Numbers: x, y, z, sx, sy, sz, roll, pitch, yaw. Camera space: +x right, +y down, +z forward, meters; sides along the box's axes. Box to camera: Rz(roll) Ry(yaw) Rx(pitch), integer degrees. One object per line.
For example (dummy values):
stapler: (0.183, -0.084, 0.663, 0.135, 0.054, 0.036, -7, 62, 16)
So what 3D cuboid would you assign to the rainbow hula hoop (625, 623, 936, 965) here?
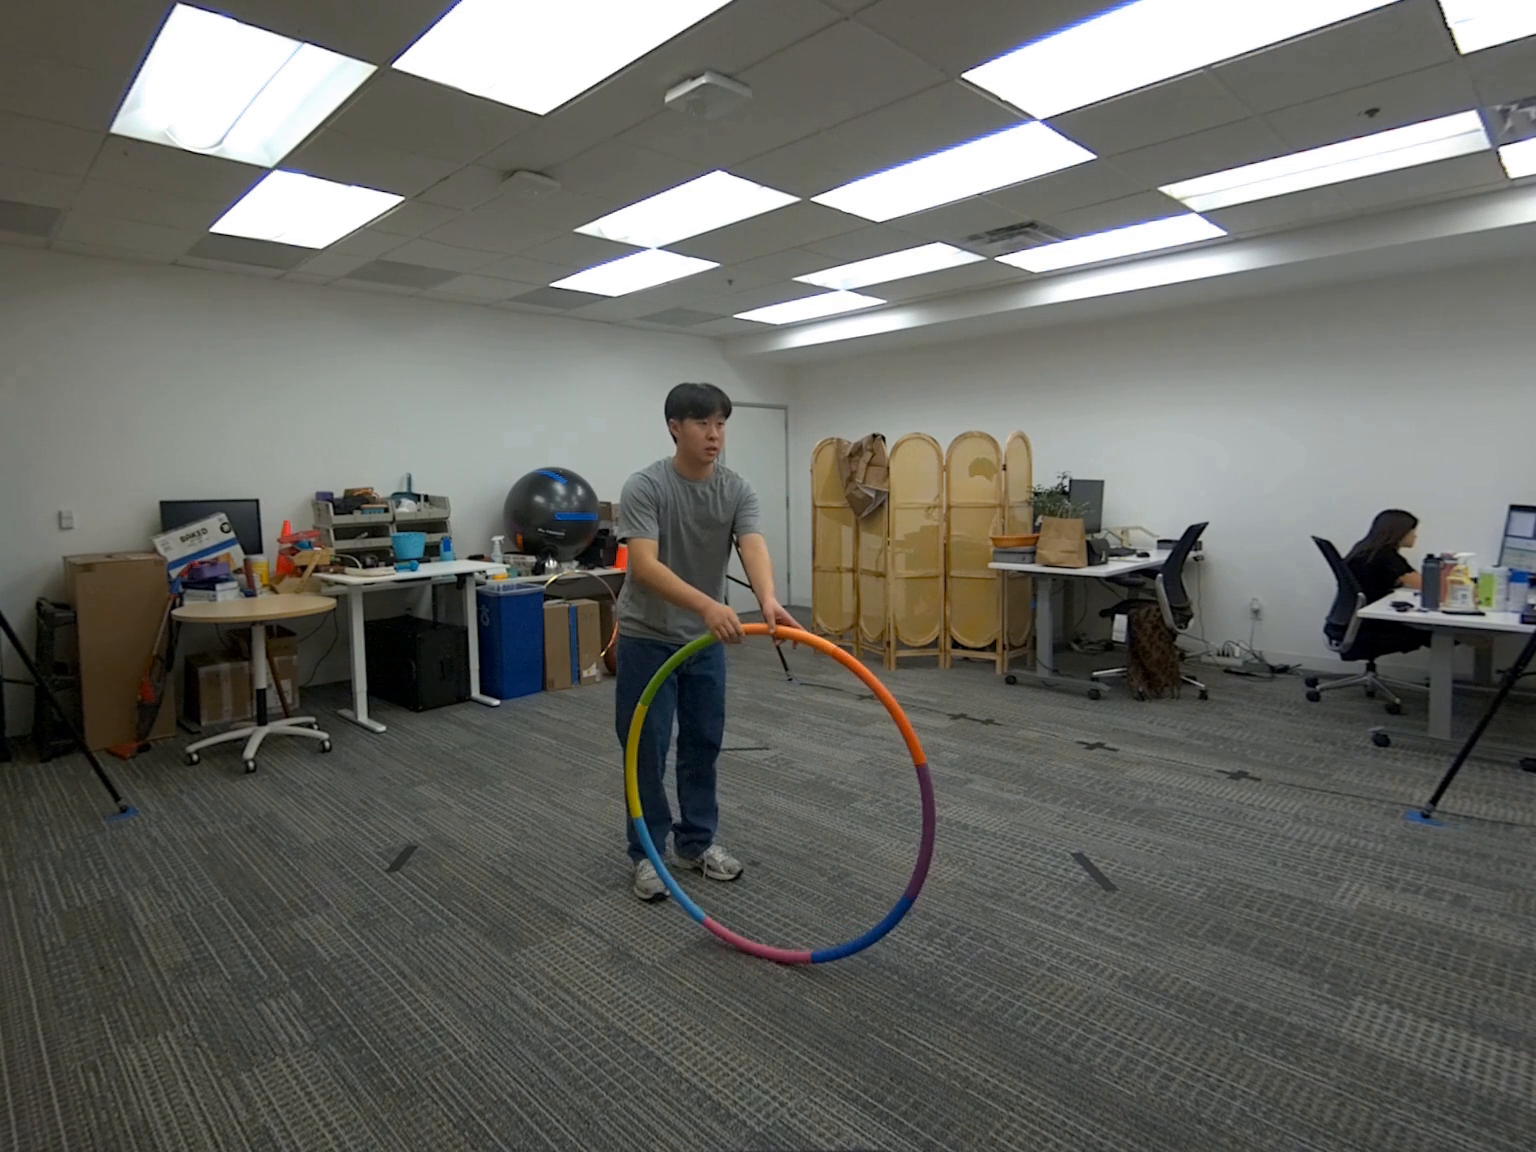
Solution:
rainbow hula hoop: (-0.004, 0.634, 2.479, 1.003, 0.977, 0.035, 2, 2, 28)
